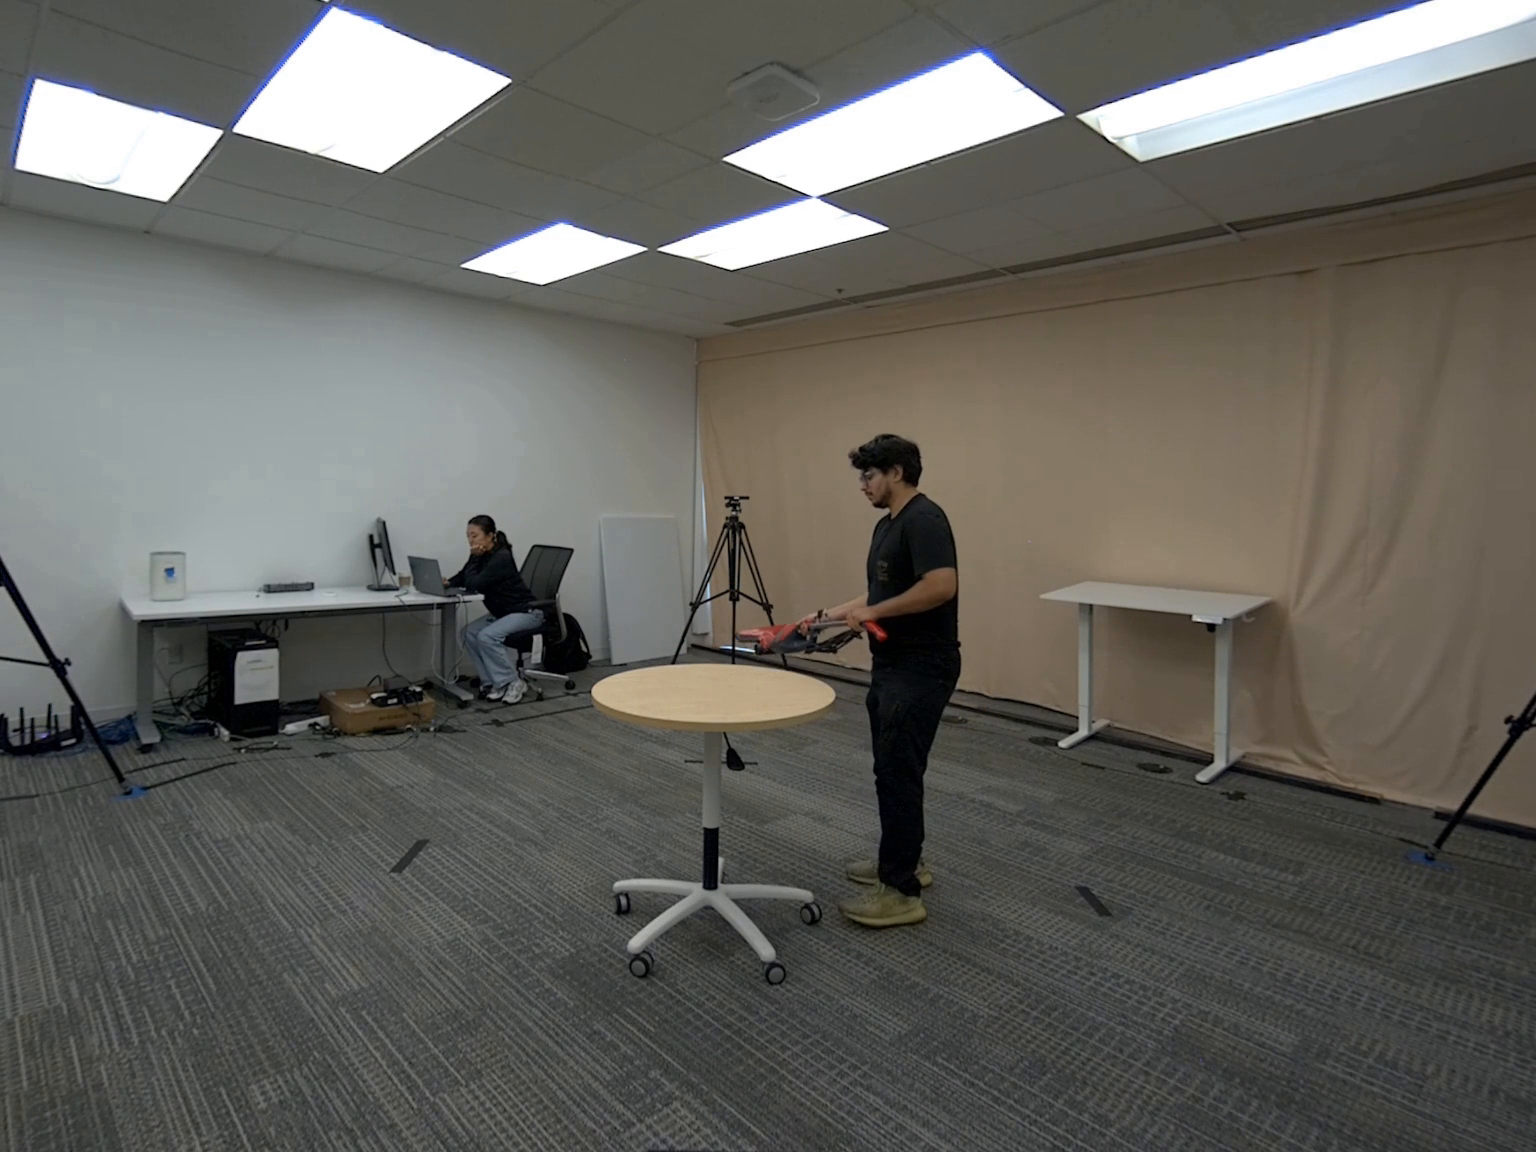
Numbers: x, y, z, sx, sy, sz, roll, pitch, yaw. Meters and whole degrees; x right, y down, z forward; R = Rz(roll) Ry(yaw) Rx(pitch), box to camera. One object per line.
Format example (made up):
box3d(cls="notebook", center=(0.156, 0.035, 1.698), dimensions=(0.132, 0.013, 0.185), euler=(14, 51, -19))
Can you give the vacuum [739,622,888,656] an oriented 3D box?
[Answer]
box3d(cls="vacuum", center=(0.170, 0.244, 3.199), dimensions=(0.249, 0.145, 1.059), euler=(1, -6, -19))
